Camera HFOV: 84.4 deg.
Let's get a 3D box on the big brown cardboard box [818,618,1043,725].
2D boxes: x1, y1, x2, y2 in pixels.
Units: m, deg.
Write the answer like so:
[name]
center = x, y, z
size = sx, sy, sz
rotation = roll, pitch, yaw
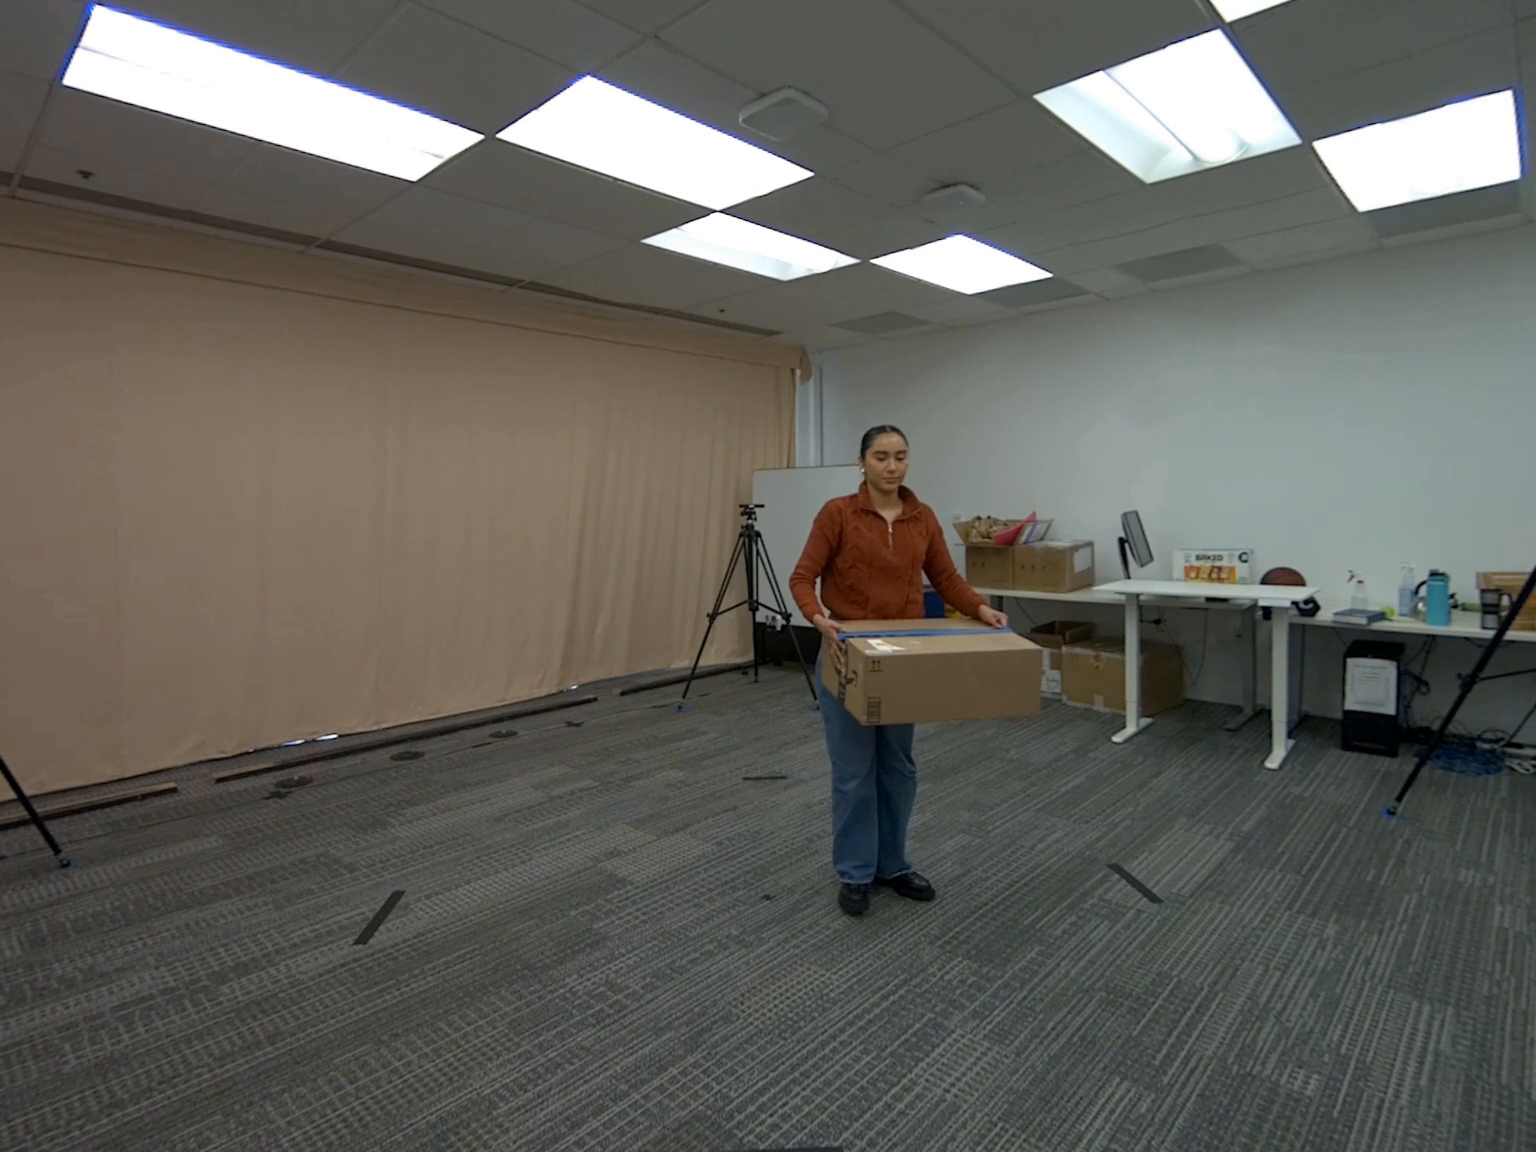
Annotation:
[big brown cardboard box]
center = 0.500, 0.284, 2.672
size = 0.582, 0.232, 0.425
rotation = -1, 9, -12
